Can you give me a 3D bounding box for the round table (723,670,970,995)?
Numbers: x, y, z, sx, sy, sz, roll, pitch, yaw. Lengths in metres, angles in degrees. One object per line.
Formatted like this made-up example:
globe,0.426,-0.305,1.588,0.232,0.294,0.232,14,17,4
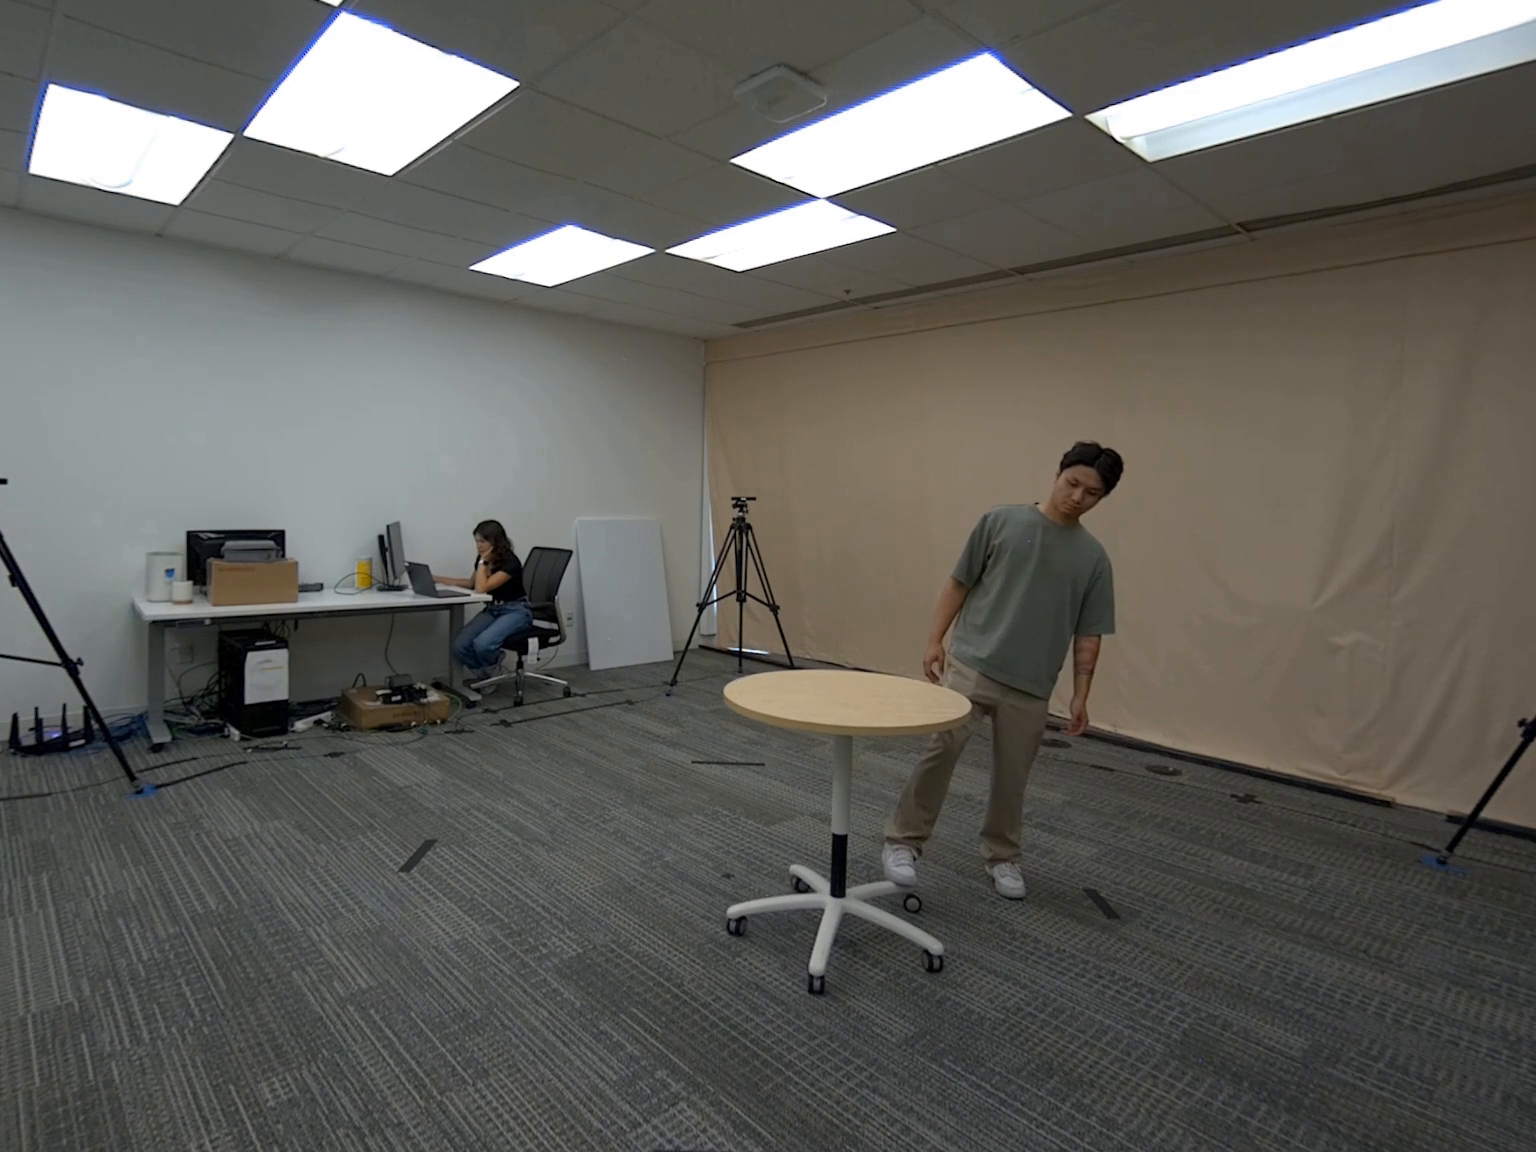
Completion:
round table,0.223,0.759,2.679,0.784,0.784,0.788,2,5,-2
